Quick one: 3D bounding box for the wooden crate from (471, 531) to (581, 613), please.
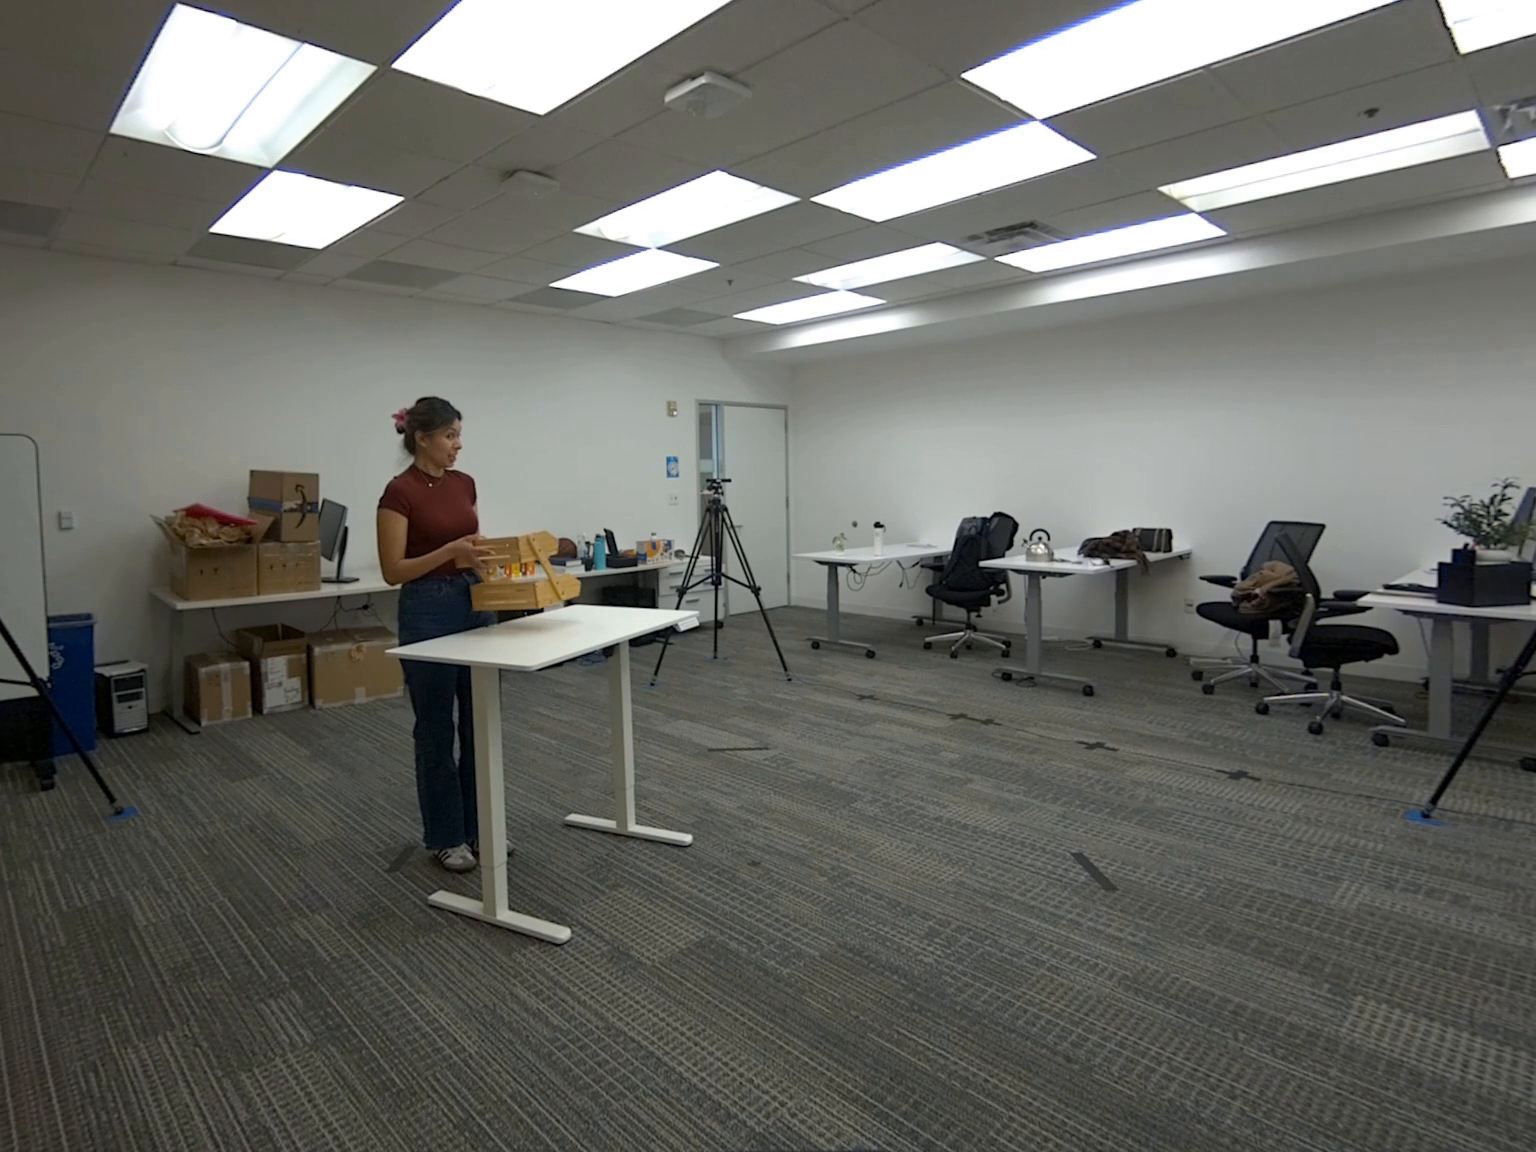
[{"bbox_3d":[-0.895,-0.030,3.066,0.332,0.271,0.297,-4,8,27],"label":"wooden crate"}]
